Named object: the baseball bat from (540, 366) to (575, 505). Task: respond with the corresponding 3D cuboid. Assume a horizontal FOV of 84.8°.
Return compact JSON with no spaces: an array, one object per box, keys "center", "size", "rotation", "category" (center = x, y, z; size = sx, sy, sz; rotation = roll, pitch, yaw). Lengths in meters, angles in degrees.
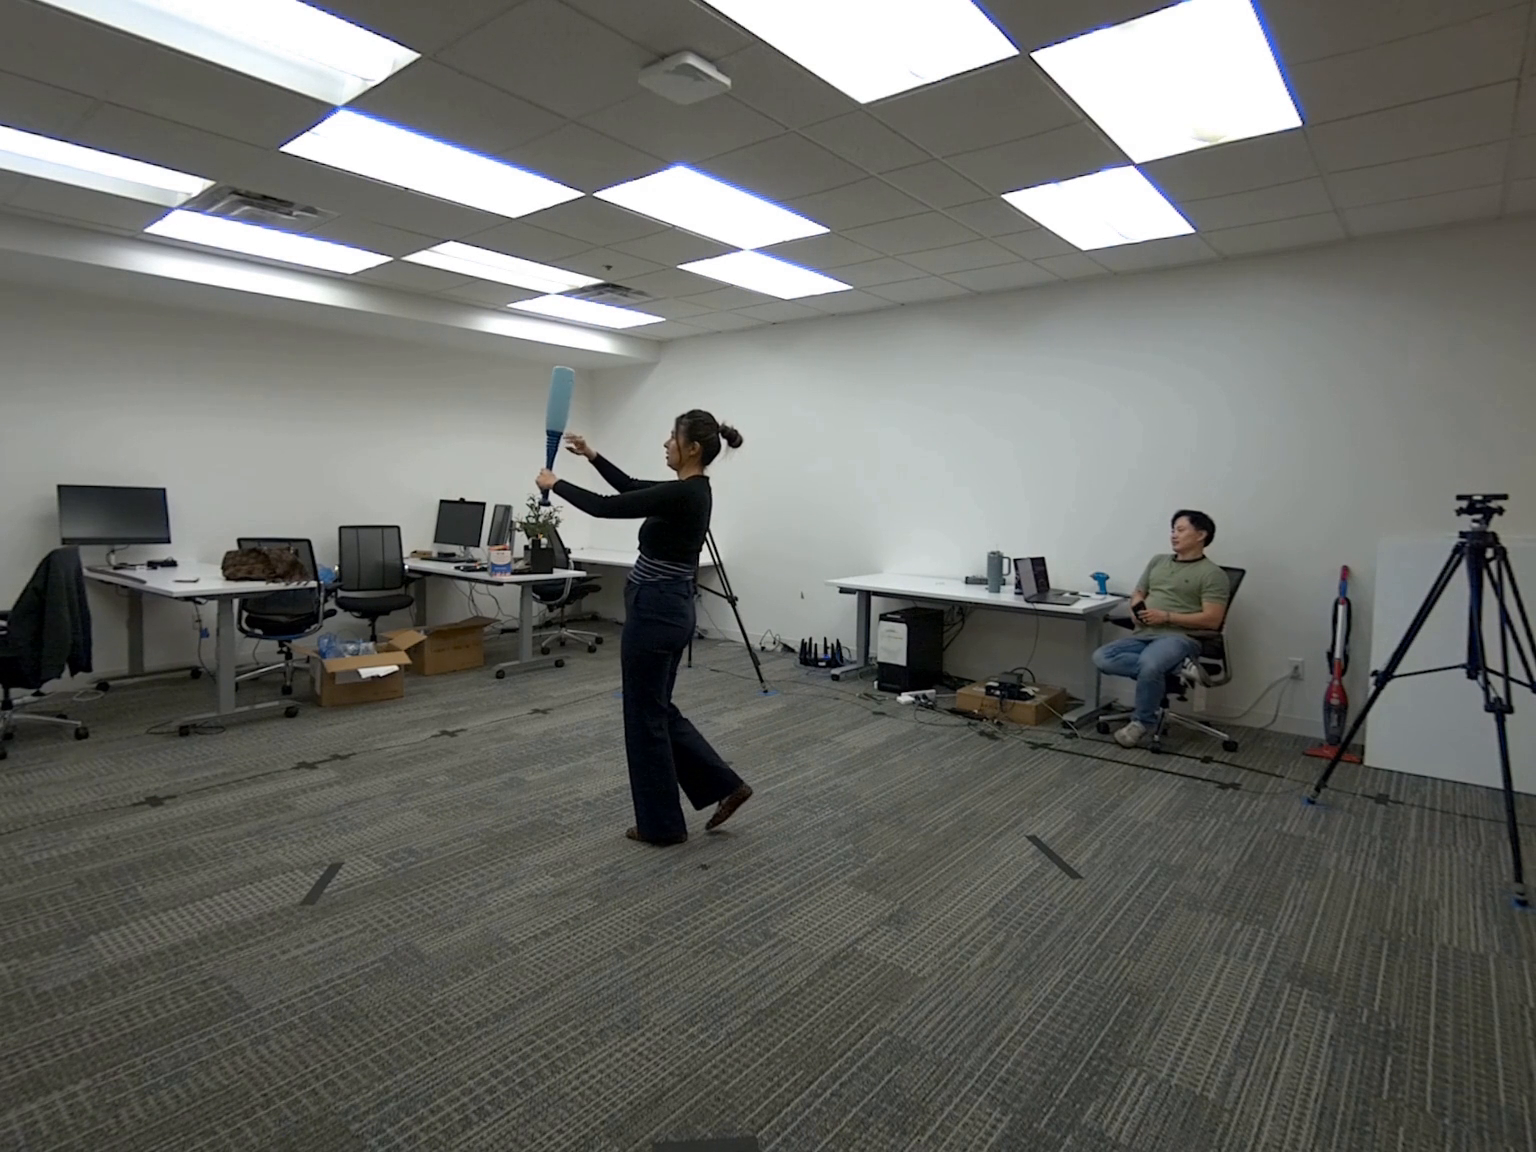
[{"center":[-0.844,-0.545,3.300],"size":[0.089,0.543,0.089],"rotation":[9,1,-2],"category":"baseball bat"}]
